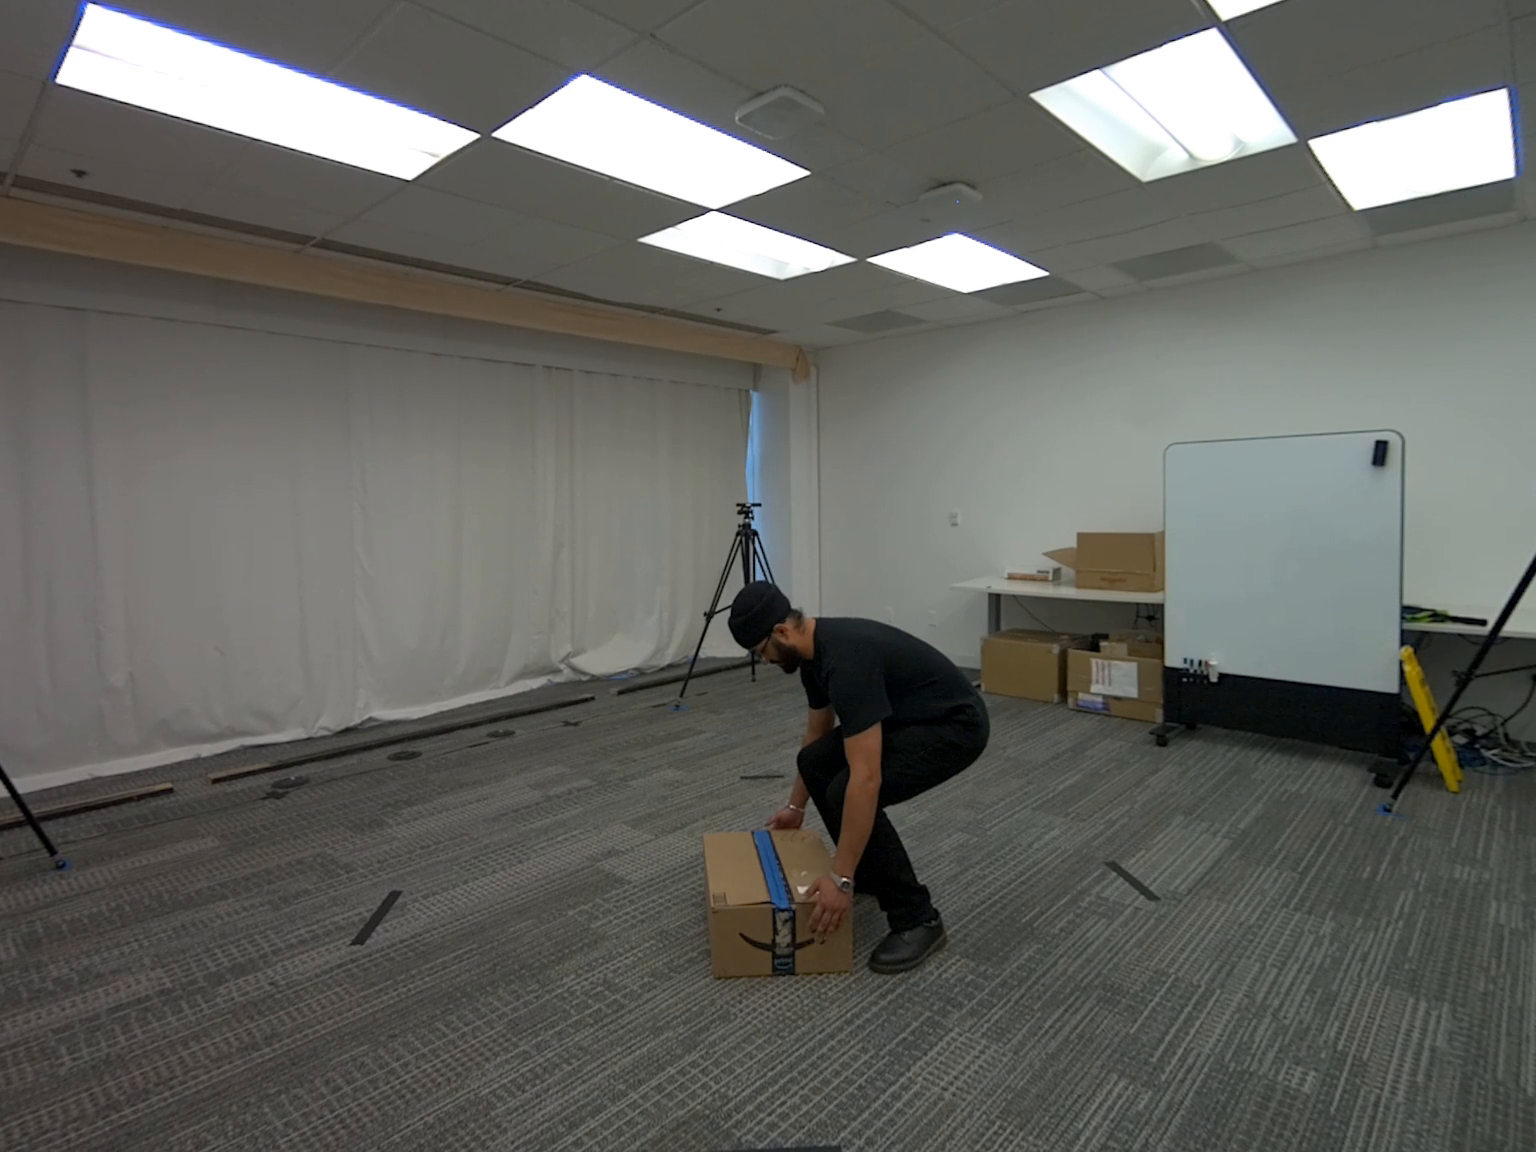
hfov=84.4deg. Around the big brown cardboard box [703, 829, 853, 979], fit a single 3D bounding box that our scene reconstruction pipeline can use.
[{"bbox_3d":[0.007,1.051,2.745,0.415,0.233,0.594,-2,4,-7],"label":"big brown cardboard box"}]
